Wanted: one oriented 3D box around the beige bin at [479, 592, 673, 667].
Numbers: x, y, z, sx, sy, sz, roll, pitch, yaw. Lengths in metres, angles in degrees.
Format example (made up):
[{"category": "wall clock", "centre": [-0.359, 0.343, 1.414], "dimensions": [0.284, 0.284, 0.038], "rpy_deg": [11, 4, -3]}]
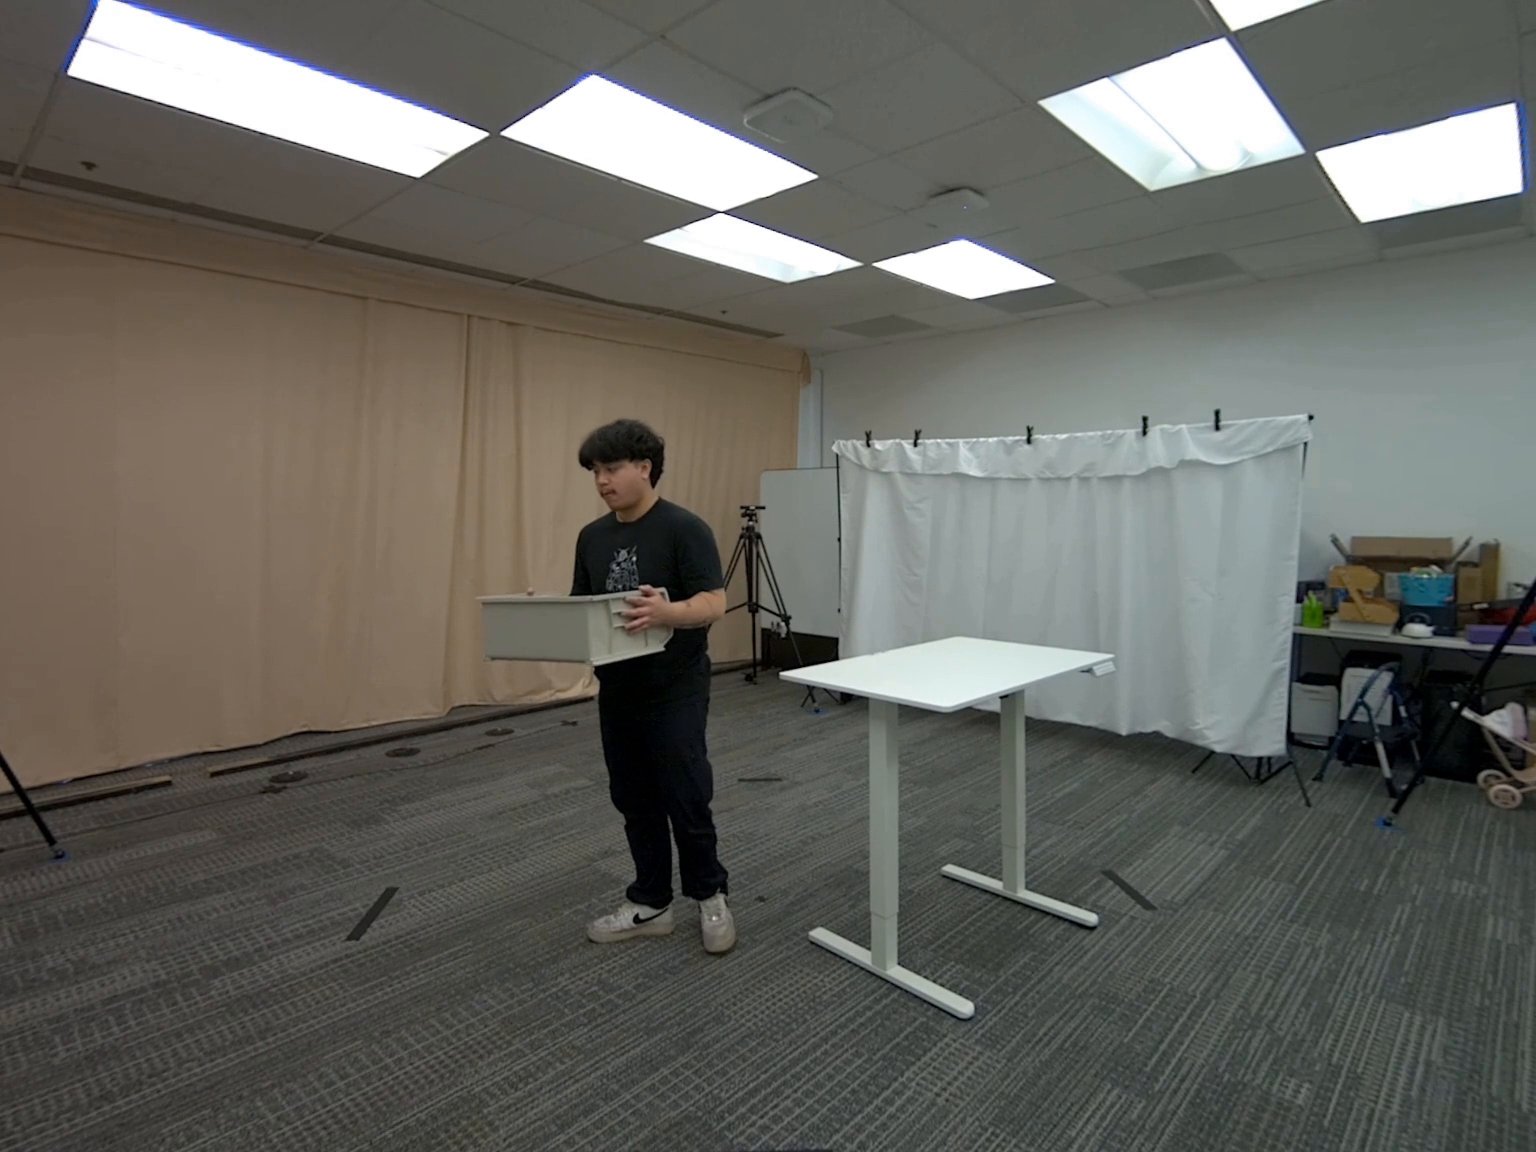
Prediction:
[{"category": "beige bin", "centre": [-0.550, 0.141, 2.409], "dimensions": [0.434, 0.189, 0.367], "rpy_deg": [-1, 3, 30]}]
